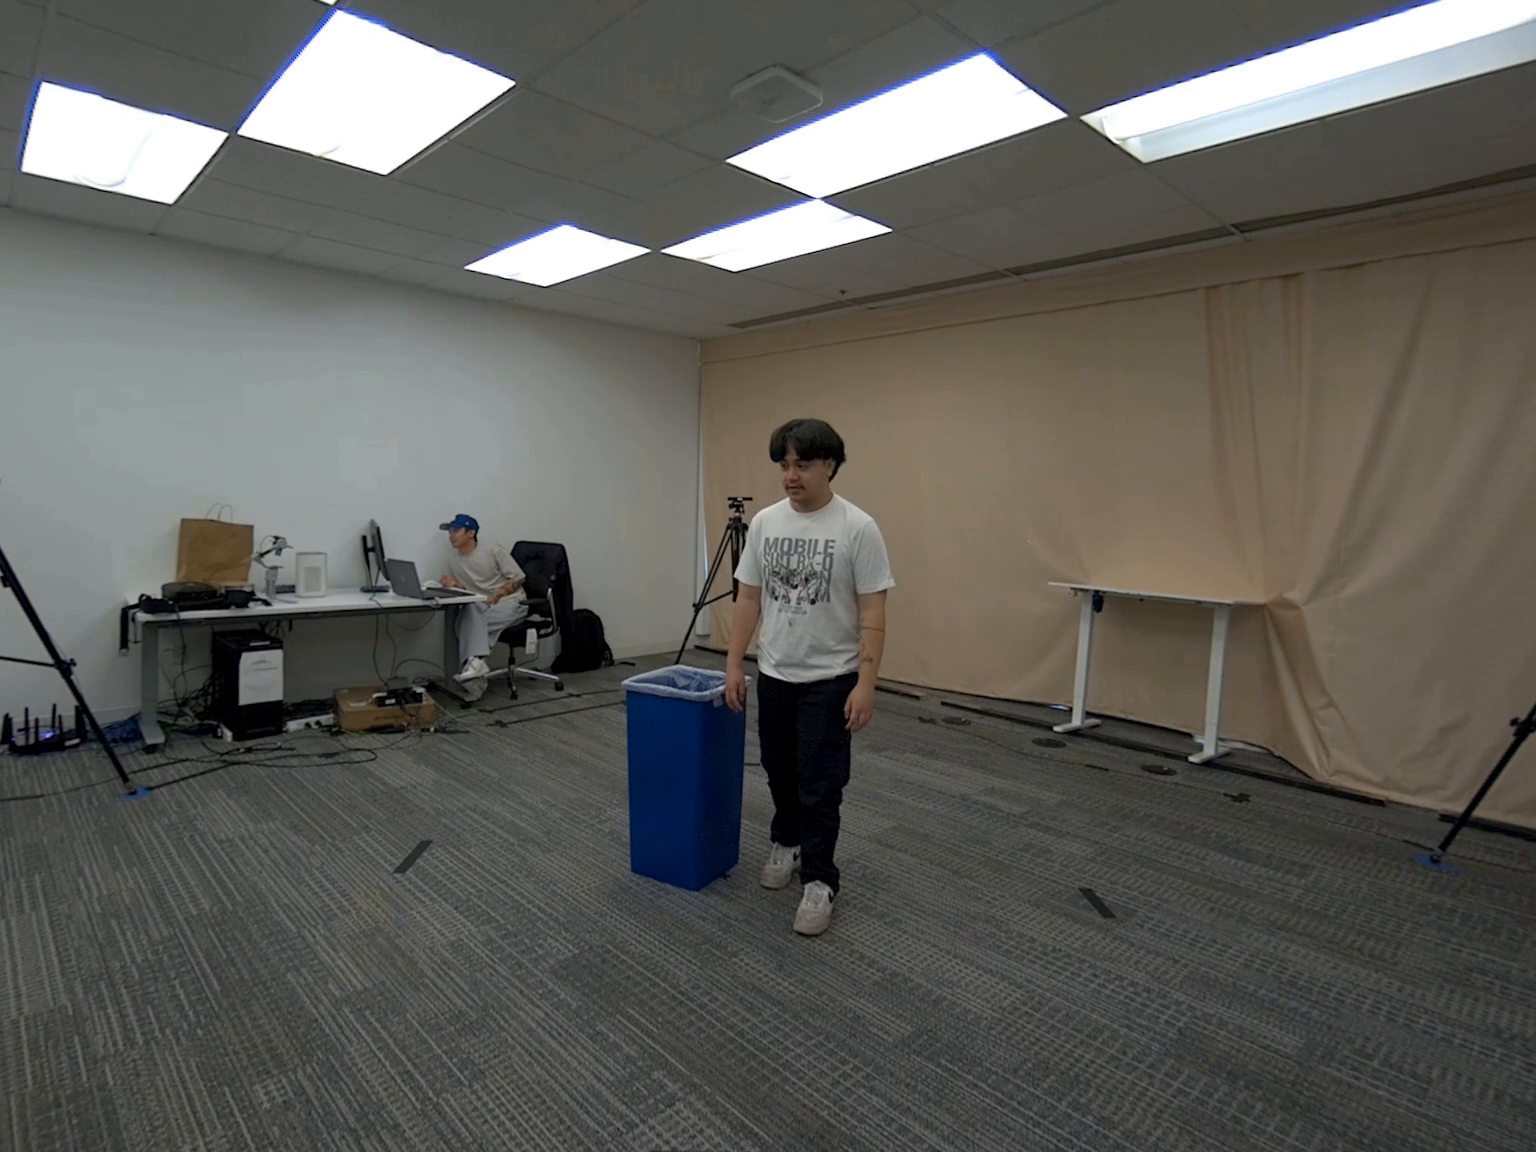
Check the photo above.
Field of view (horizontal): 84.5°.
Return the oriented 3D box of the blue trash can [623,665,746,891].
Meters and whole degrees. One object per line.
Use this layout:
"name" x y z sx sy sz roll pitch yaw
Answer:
"blue trash can" -0.317 0.739 3.158 0.382 0.712 0.371 4 4 30
